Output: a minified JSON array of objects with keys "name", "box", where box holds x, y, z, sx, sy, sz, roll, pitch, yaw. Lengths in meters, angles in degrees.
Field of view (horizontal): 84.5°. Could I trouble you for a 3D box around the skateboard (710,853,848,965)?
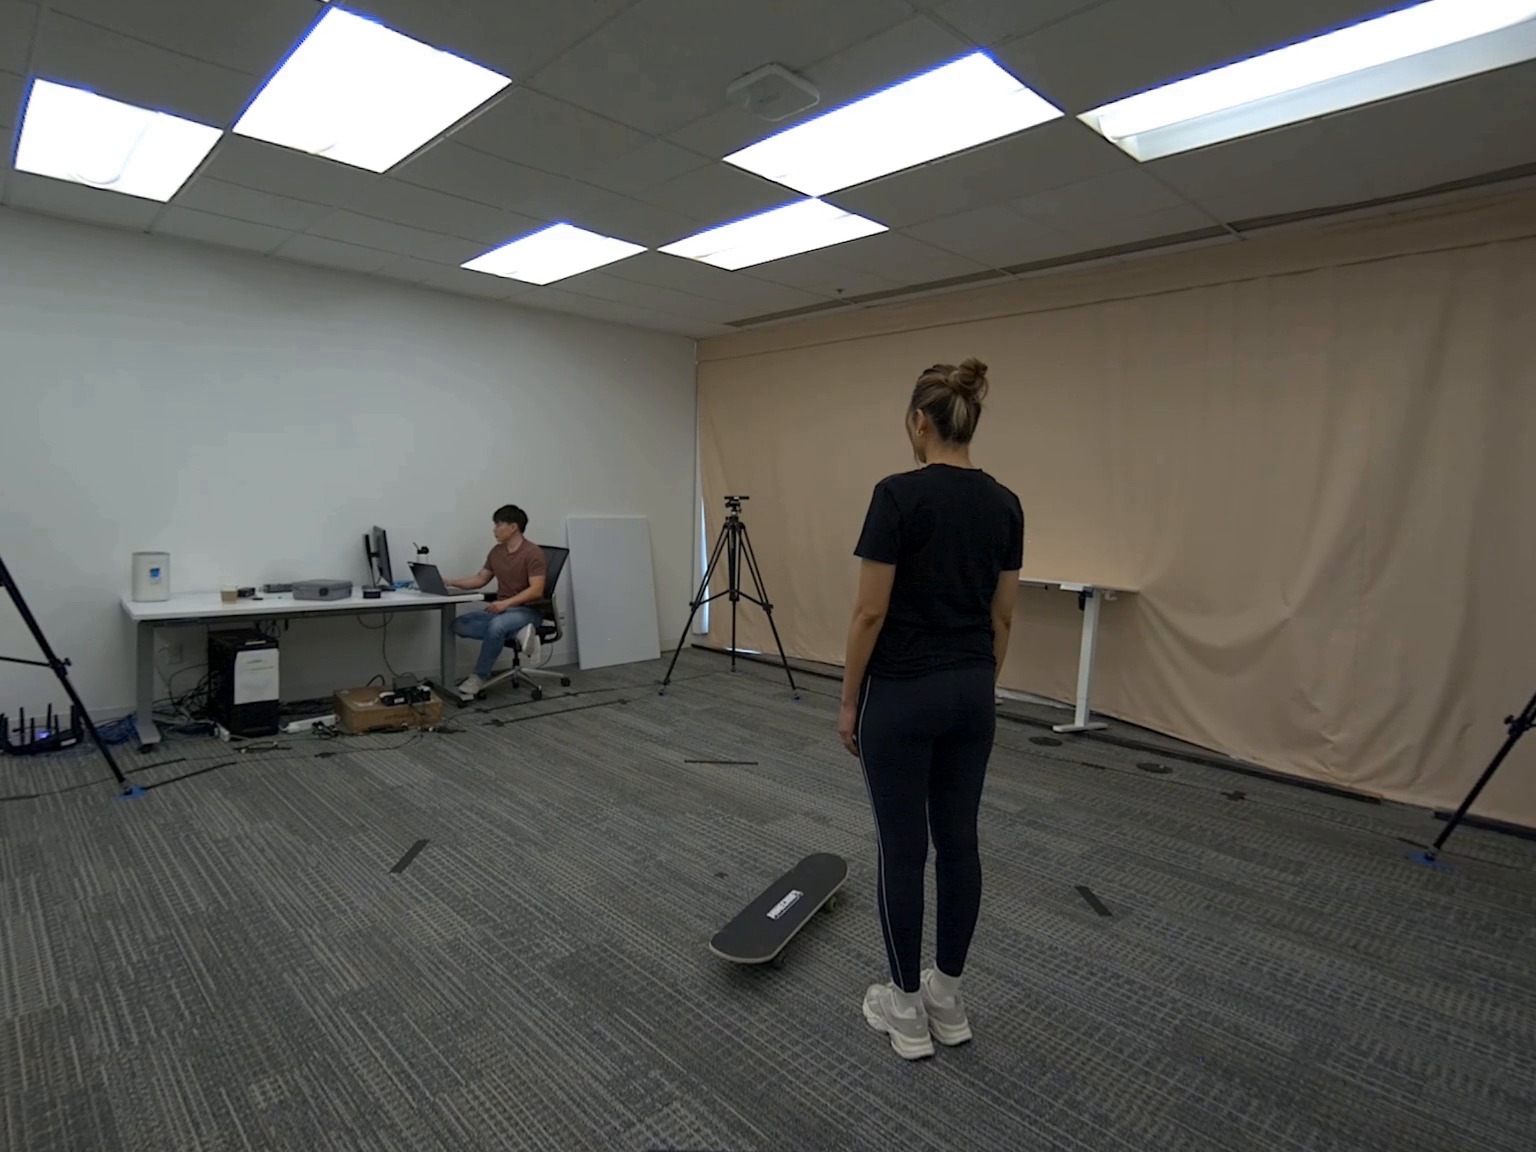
[{"name":"skateboard","box":[0.052,1.086,2.706,0.197,0.110,0.772,5,7,27]}]
